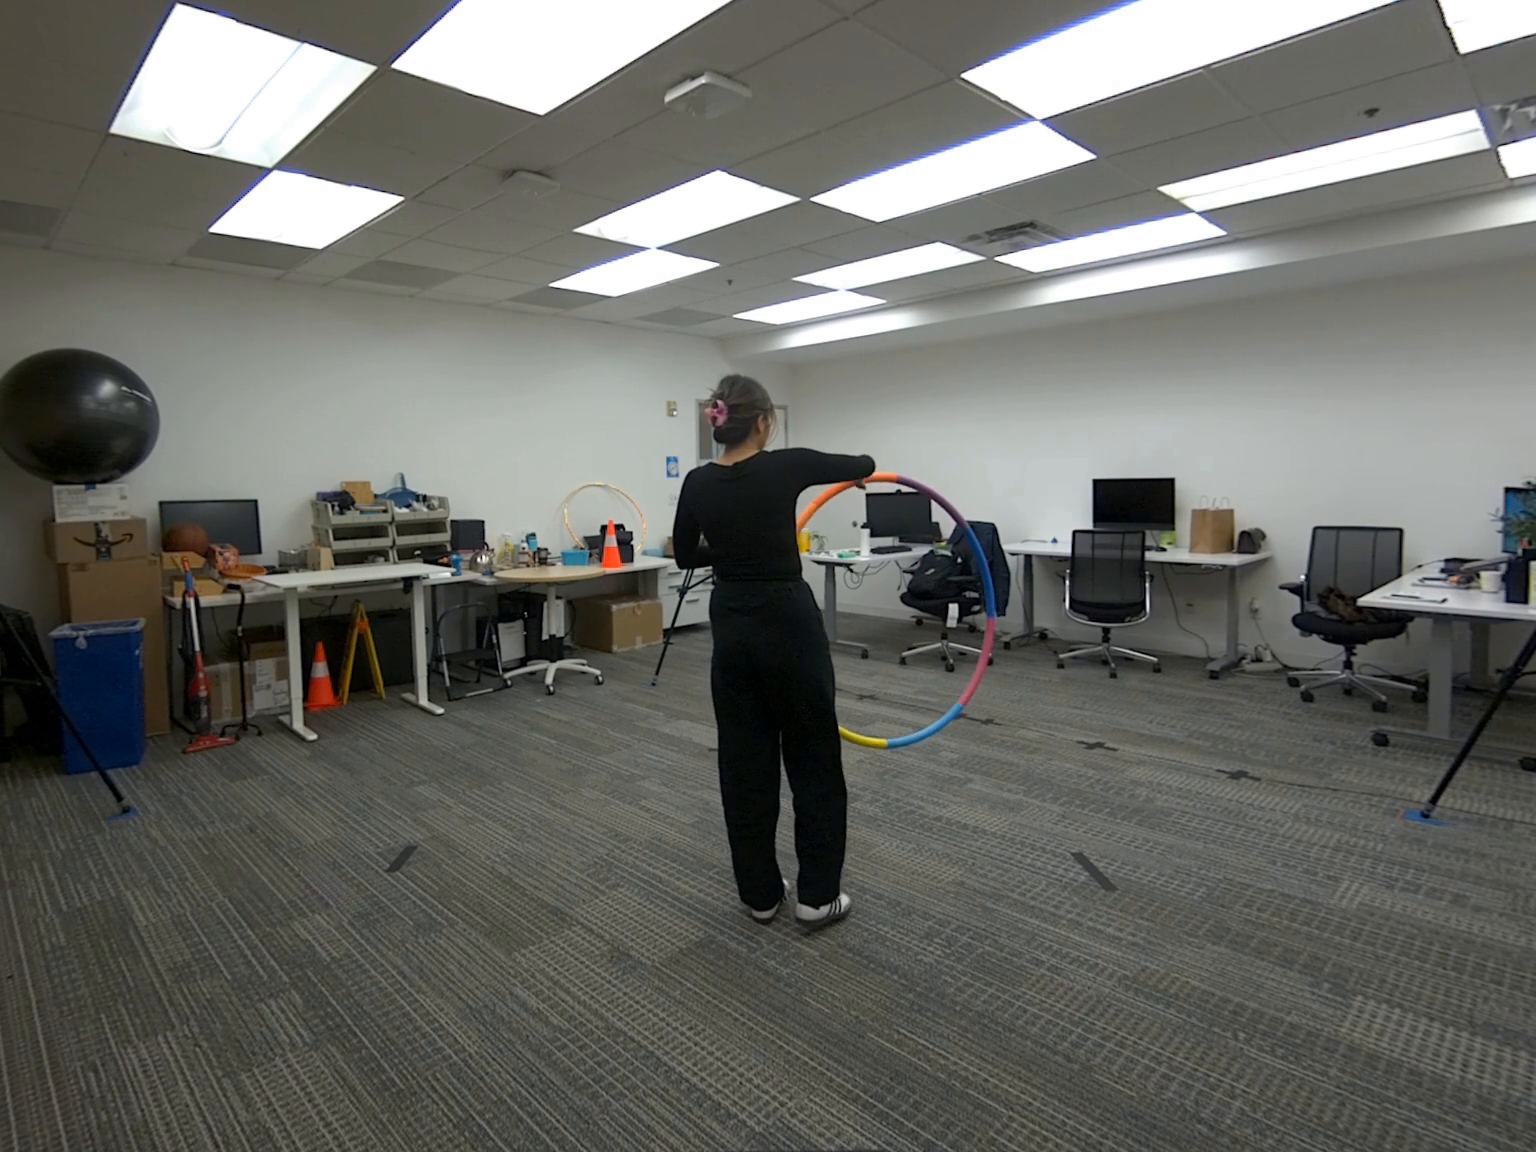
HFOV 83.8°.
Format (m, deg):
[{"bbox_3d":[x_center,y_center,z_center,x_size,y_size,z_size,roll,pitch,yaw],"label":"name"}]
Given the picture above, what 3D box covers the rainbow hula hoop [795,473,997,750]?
[{"bbox_3d":[0.430,0.119,3.098,0.964,0.988,0.052,-3,-3,-26],"label":"rainbow hula hoop"}]
